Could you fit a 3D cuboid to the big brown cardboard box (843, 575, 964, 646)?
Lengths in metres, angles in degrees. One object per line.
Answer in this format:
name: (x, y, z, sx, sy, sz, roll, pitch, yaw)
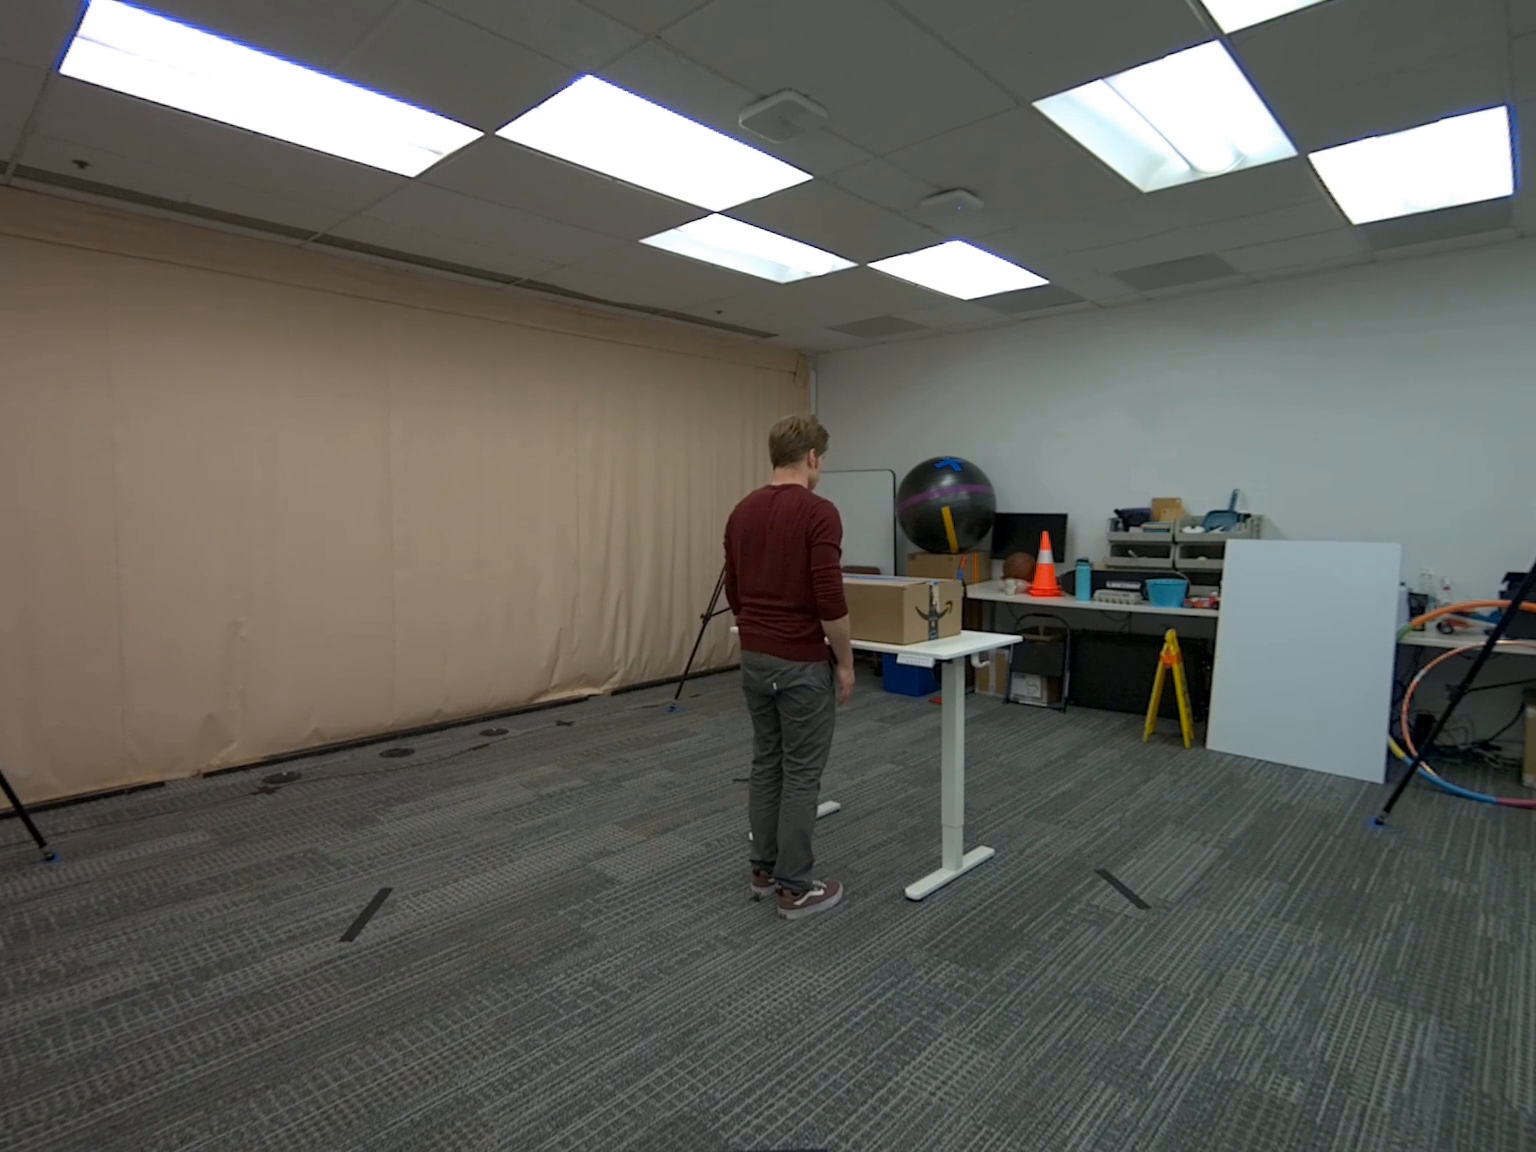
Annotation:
big brown cardboard box: (0.410, 0.117, 3.369, 0.609, 0.233, 0.405, 4, 5, 42)
